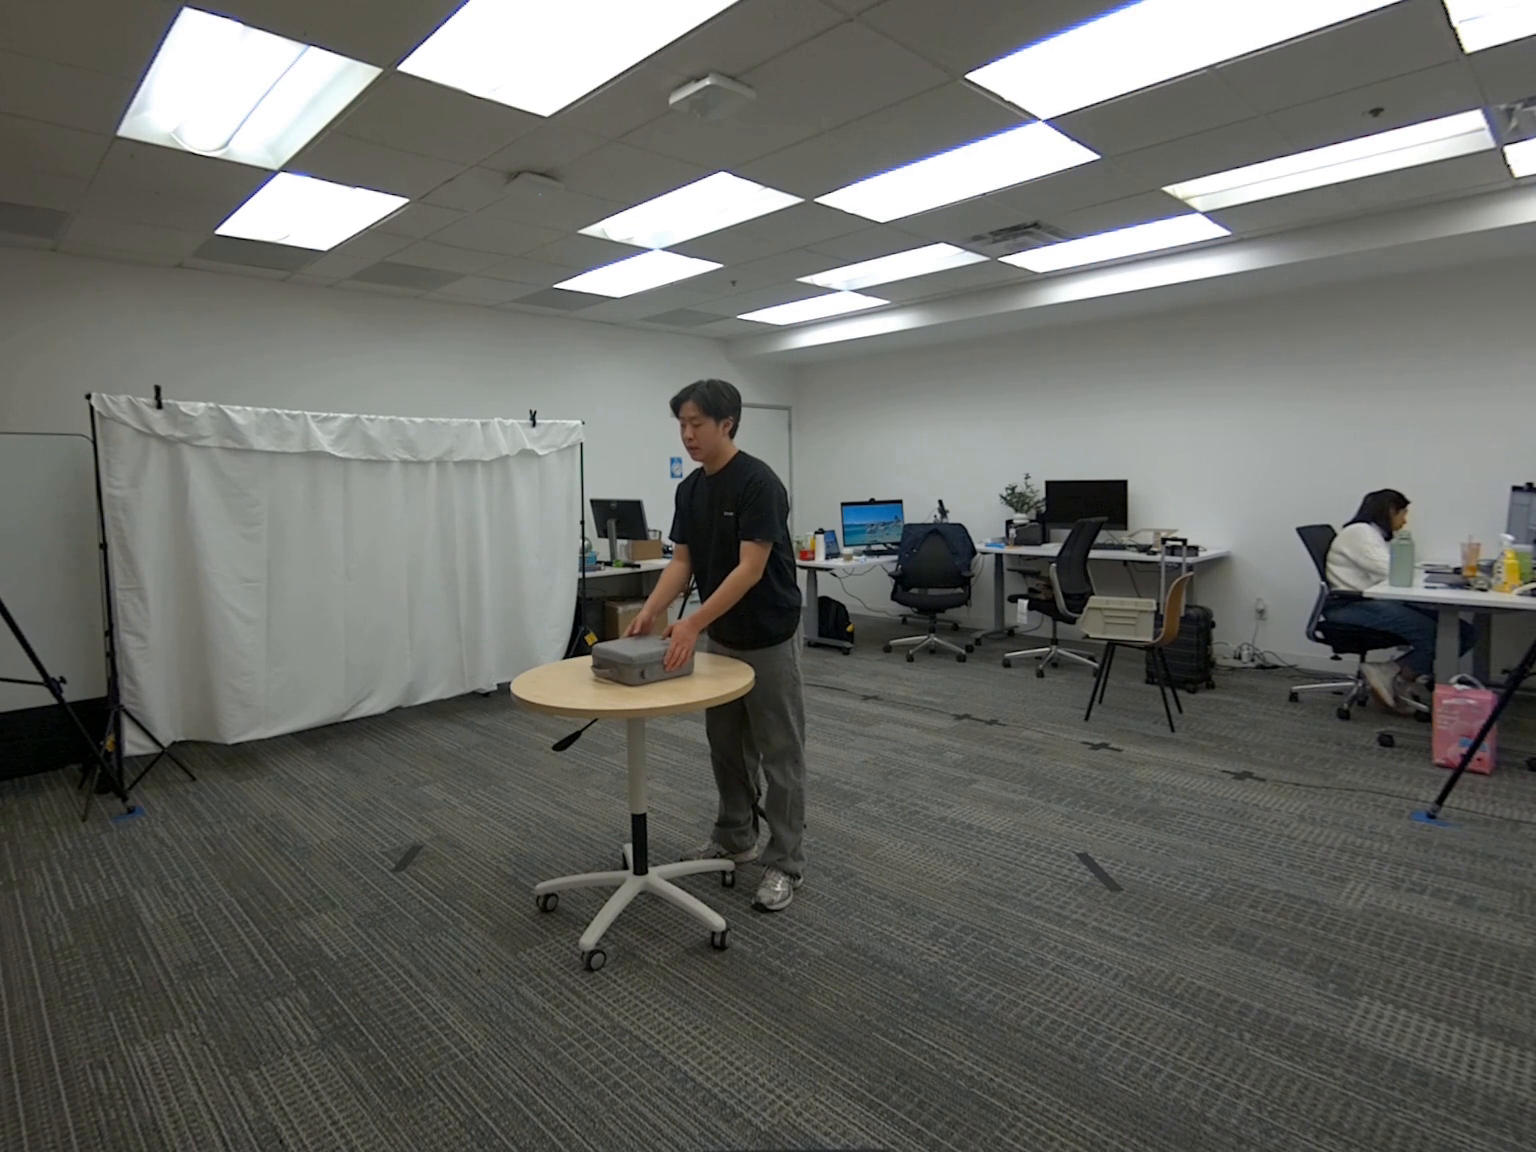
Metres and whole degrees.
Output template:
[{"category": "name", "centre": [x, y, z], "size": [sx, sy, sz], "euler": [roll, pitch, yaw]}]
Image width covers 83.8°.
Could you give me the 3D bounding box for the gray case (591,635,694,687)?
[{"category": "gray case", "centre": [-0.405, 0.266, 2.711], "size": [0.280, 0.102, 0.271], "euler": [-8, 9, -39]}]
